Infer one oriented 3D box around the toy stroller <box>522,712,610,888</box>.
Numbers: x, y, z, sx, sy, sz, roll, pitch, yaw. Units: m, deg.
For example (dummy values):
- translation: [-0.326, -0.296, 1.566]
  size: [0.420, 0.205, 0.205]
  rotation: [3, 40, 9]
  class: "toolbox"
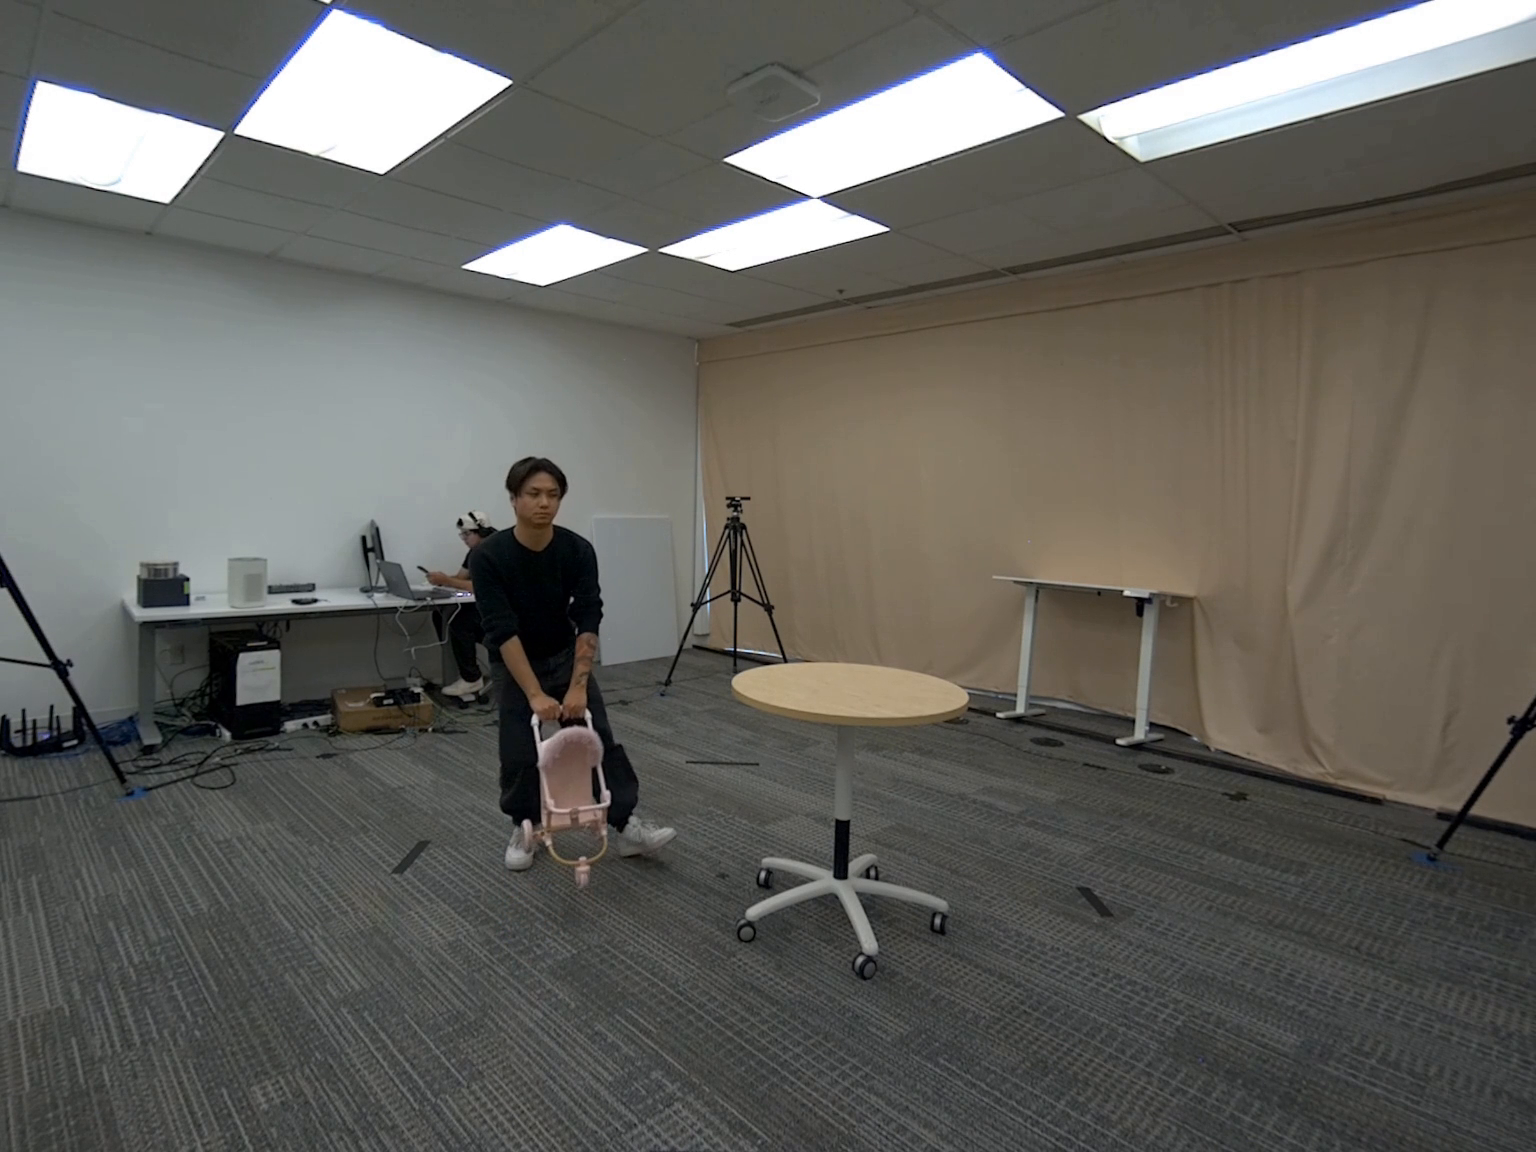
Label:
- translation: [-0.656, 0.729, 2.809]
  size: [0.276, 0.535, 0.347]
  rotation: [0, 0, -24]
  class: "toy stroller"
